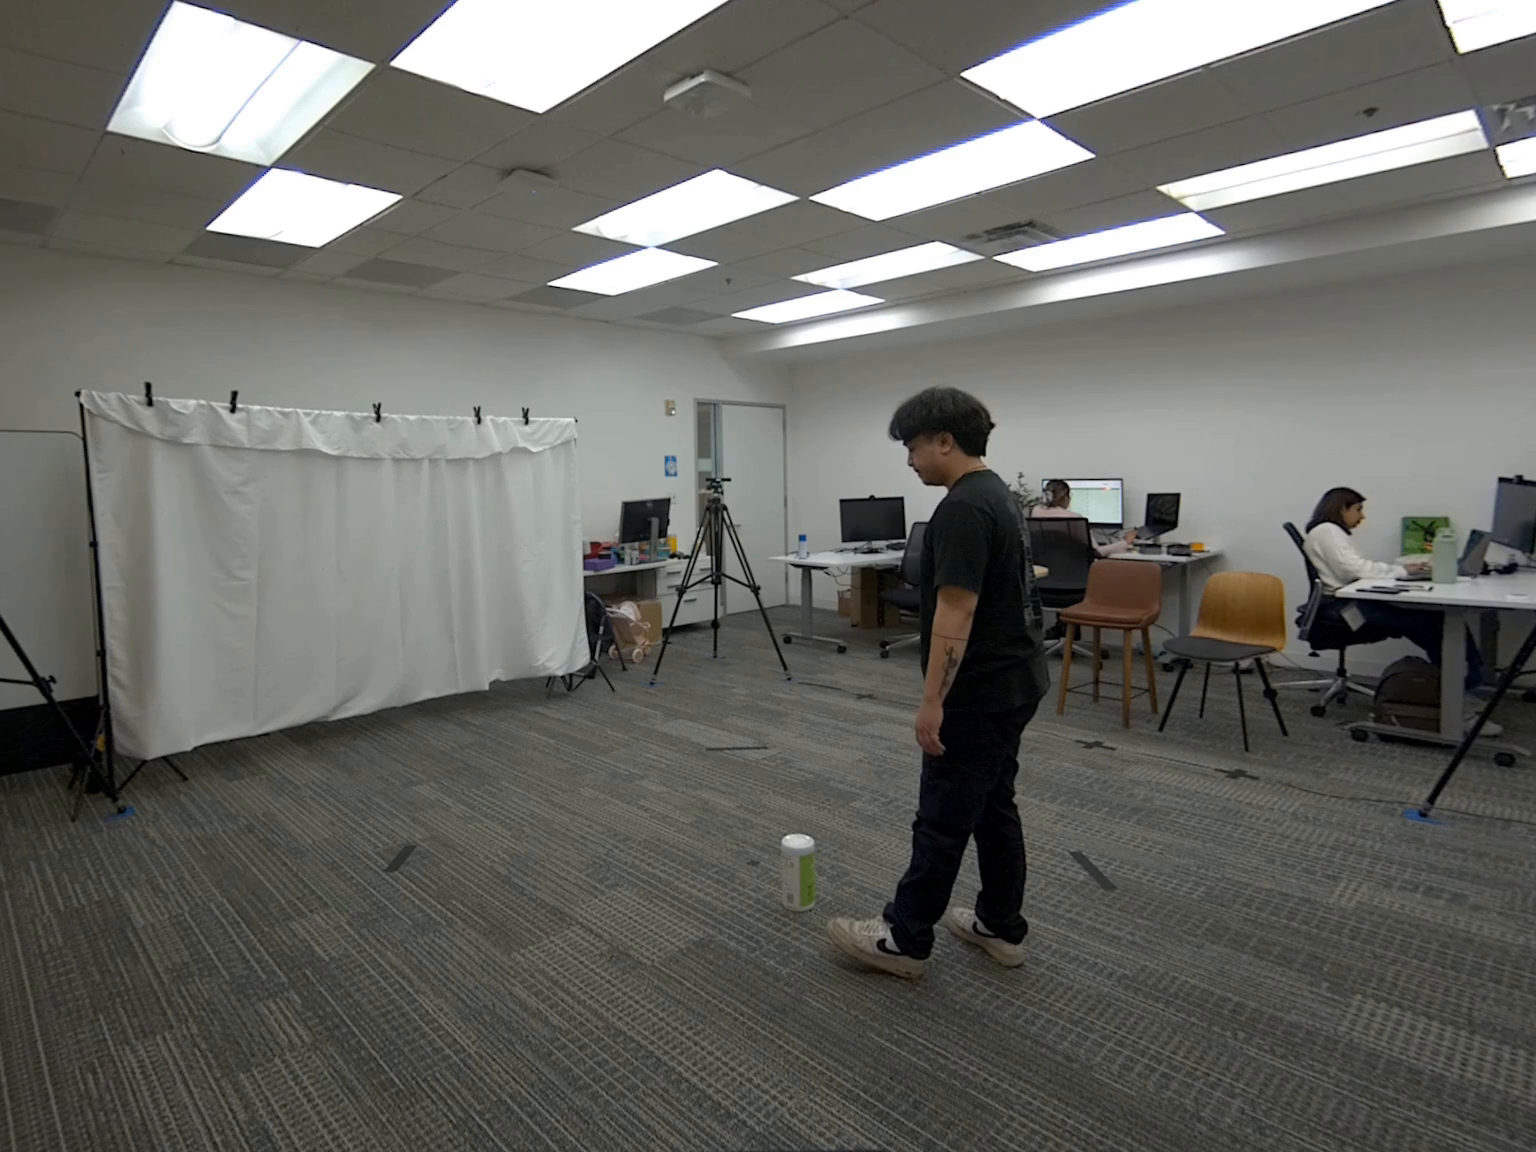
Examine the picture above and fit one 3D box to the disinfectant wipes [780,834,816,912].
[{"bbox_3d":[0.103,0.969,2.785,0.118,0.217,0.118,-2,4,-2],"label":"disinfectant wipes"}]
